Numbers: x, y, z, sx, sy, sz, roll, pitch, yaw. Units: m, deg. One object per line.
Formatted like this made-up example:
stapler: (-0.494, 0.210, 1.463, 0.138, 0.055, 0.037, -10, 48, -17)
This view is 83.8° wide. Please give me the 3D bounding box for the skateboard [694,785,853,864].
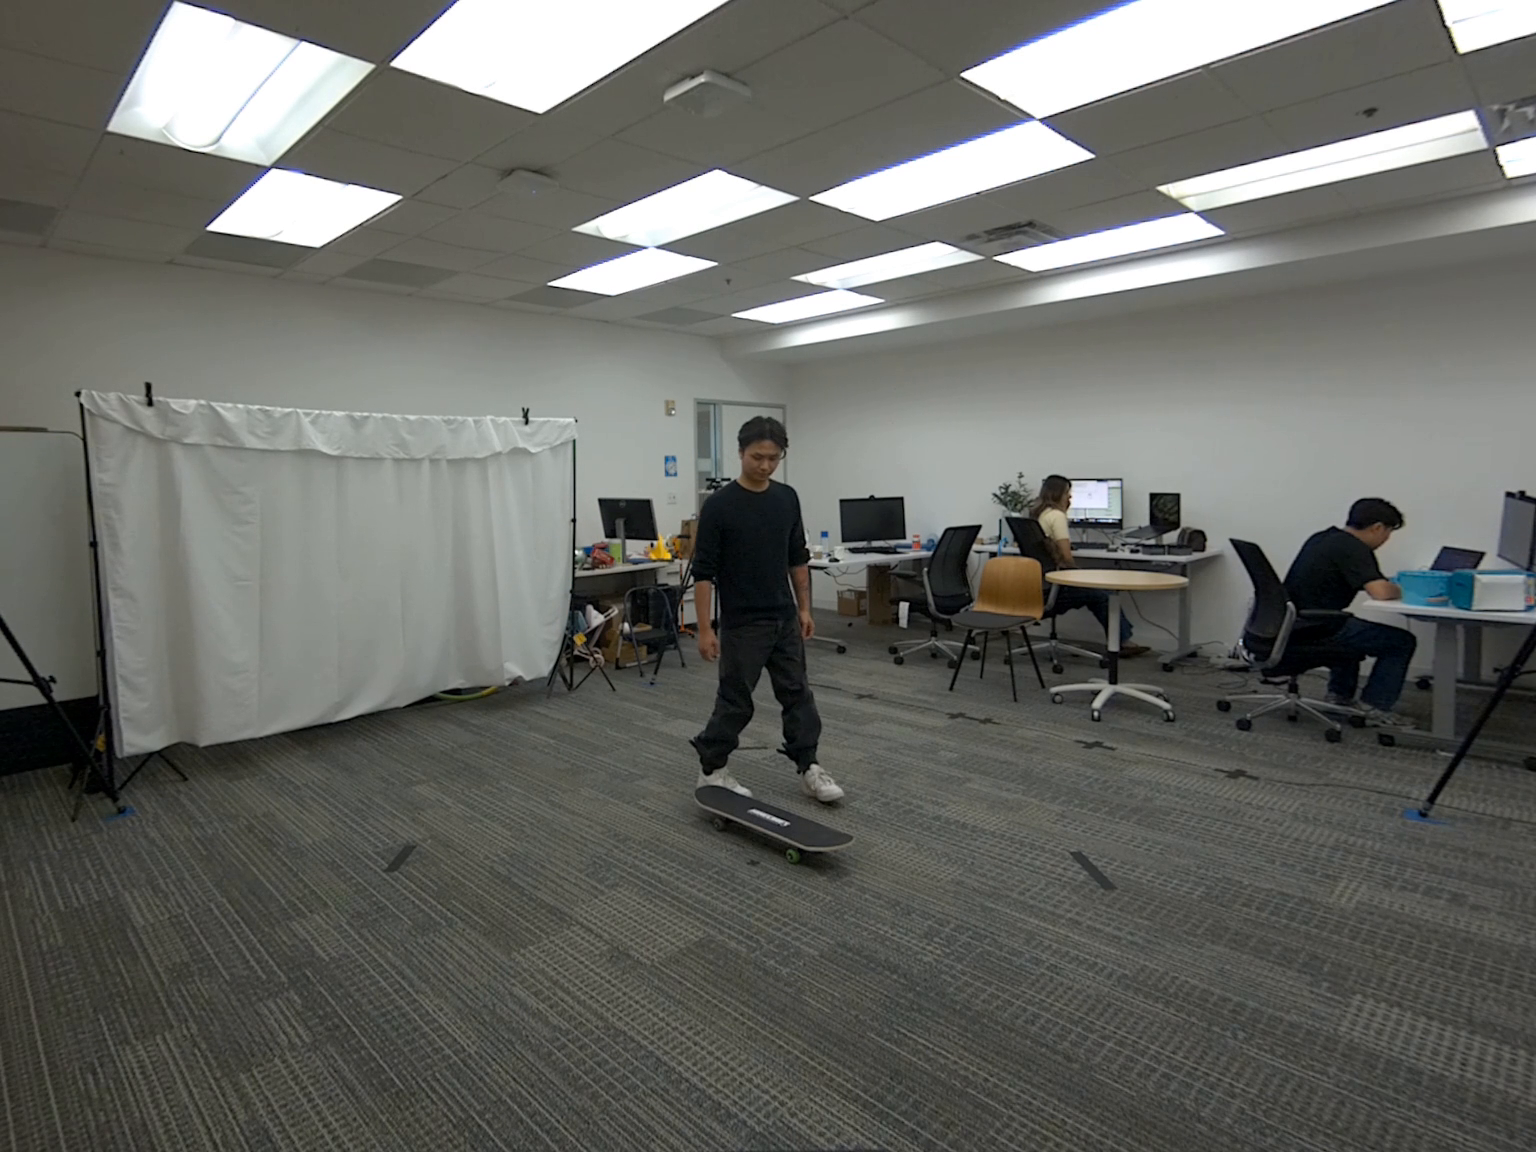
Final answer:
skateboard: (0.008, 0.969, 3.292, 0.188, 0.110, 0.810, -8, 9, -43)
